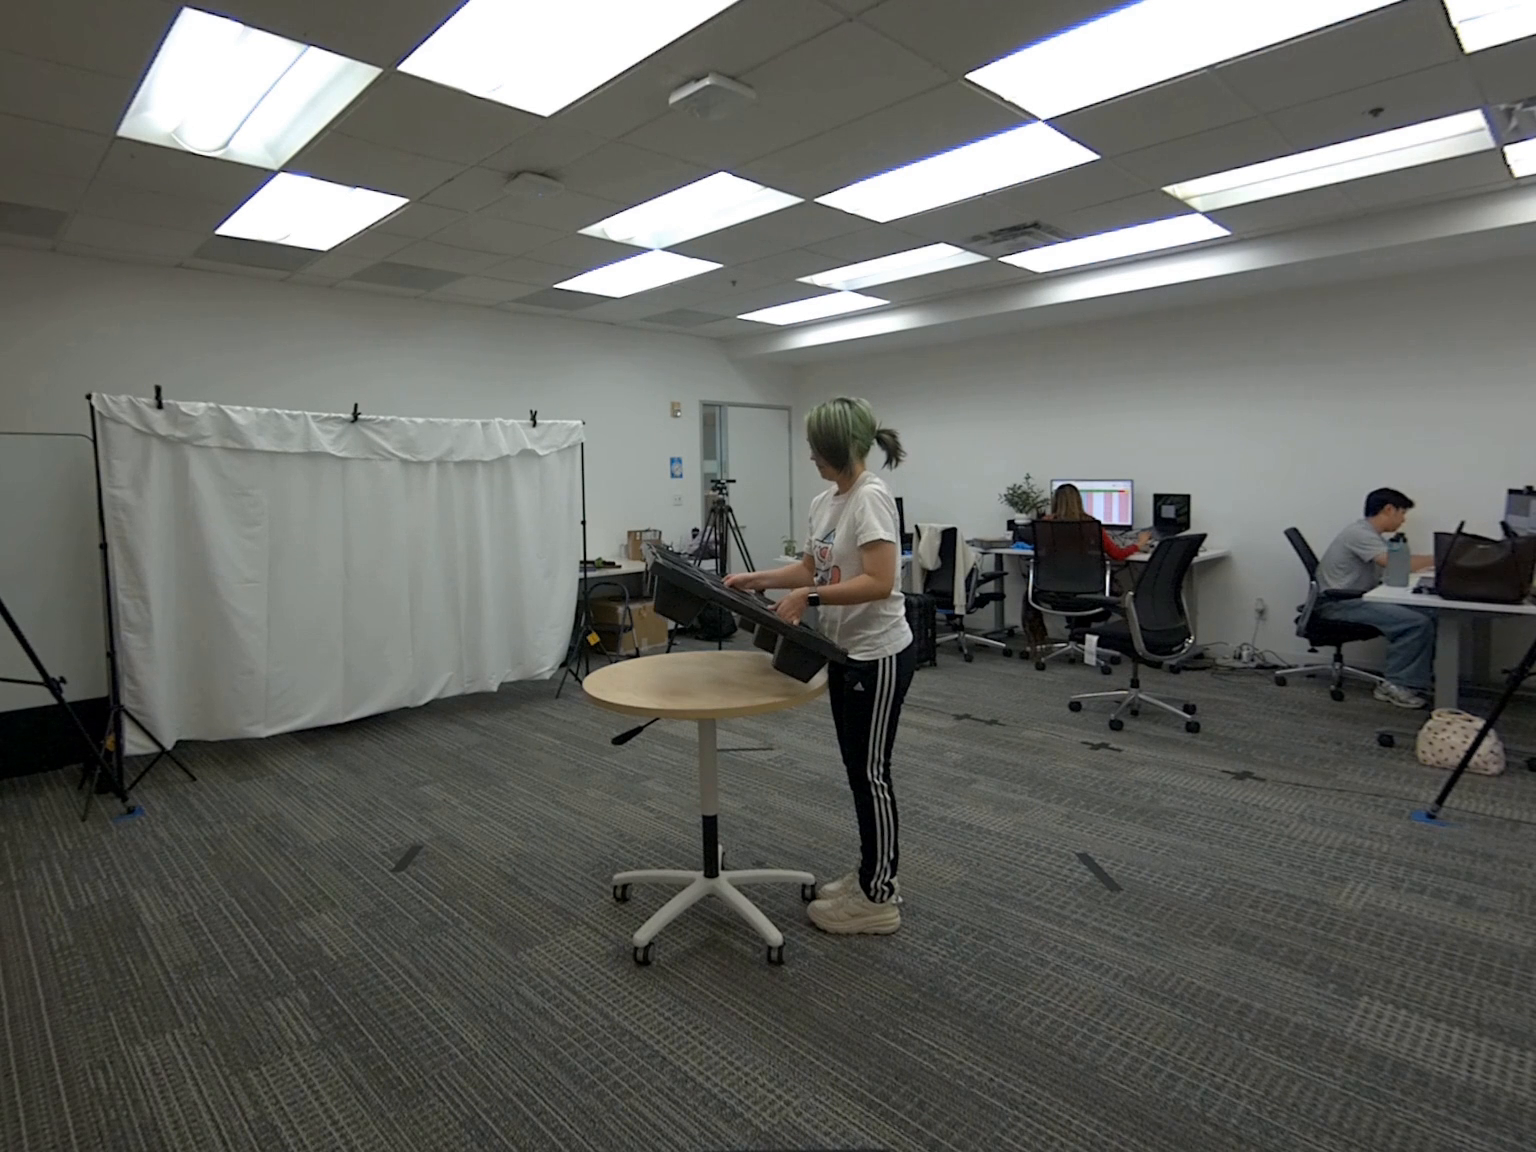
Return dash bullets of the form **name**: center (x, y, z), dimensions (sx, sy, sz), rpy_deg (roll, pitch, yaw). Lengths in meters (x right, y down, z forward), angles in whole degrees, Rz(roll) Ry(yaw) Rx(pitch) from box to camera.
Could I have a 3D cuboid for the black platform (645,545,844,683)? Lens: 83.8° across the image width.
- **black platform**: center (-0.134, 0.096, 2.694), dimensions (0.598, 0.143, 0.816), rpy_deg (27, 0, -11)
